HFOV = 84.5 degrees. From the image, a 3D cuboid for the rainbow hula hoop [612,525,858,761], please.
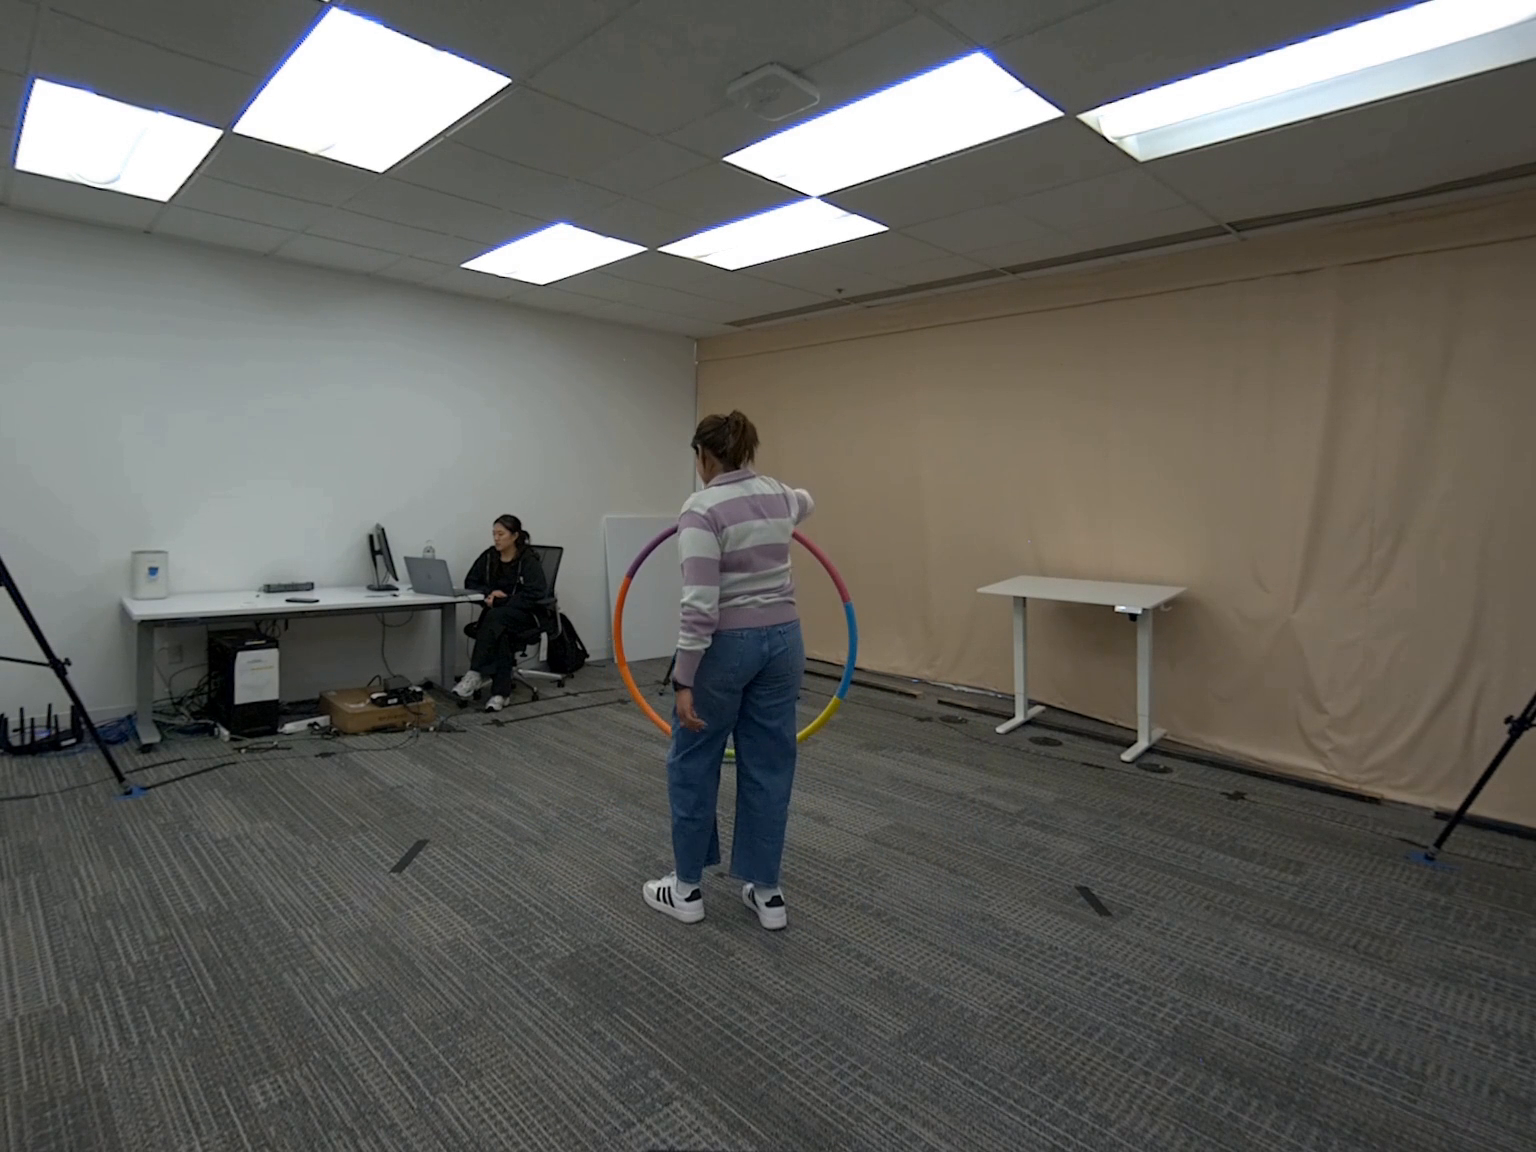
[{"bbox_3d":[-0.153,0.241,3.301,0.996,0.981,0.051,2,5,14],"label":"rainbow hula hoop"}]
